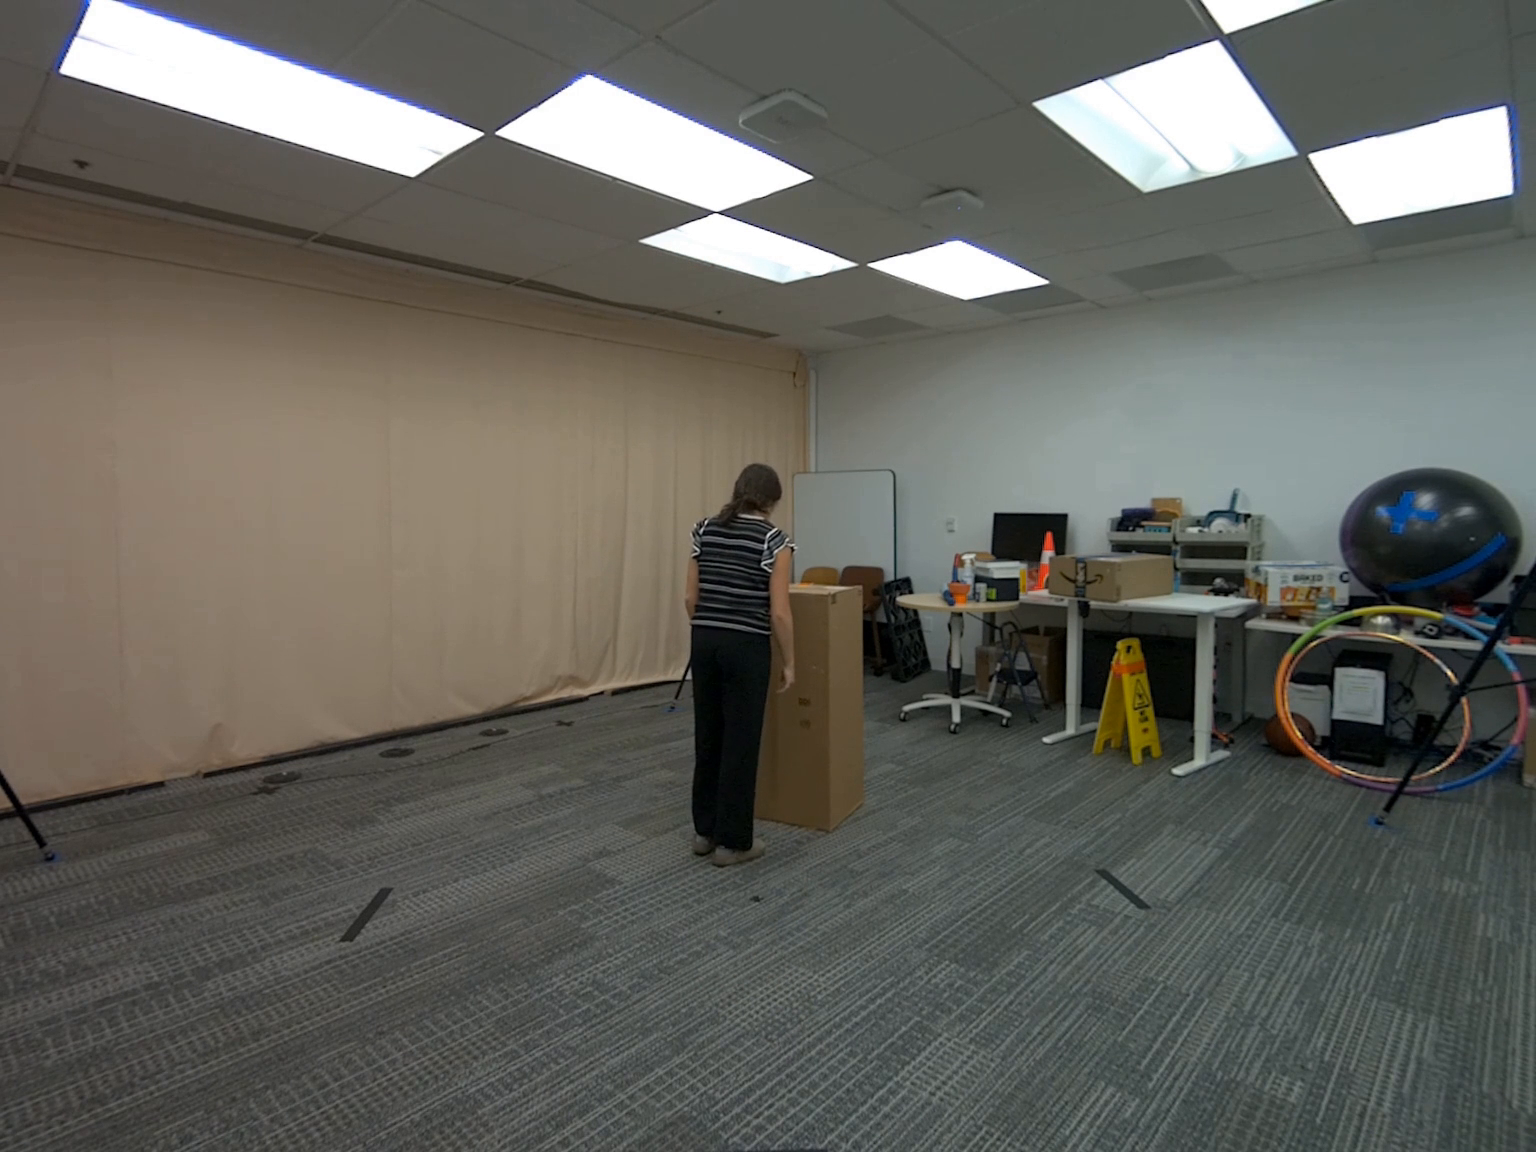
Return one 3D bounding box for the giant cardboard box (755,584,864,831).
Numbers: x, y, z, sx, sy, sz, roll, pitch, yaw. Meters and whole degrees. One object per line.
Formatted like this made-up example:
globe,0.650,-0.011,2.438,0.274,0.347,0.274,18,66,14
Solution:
giant cardboard box,0.101,0.559,3.894,0.593,1.024,0.415,1,3,27
